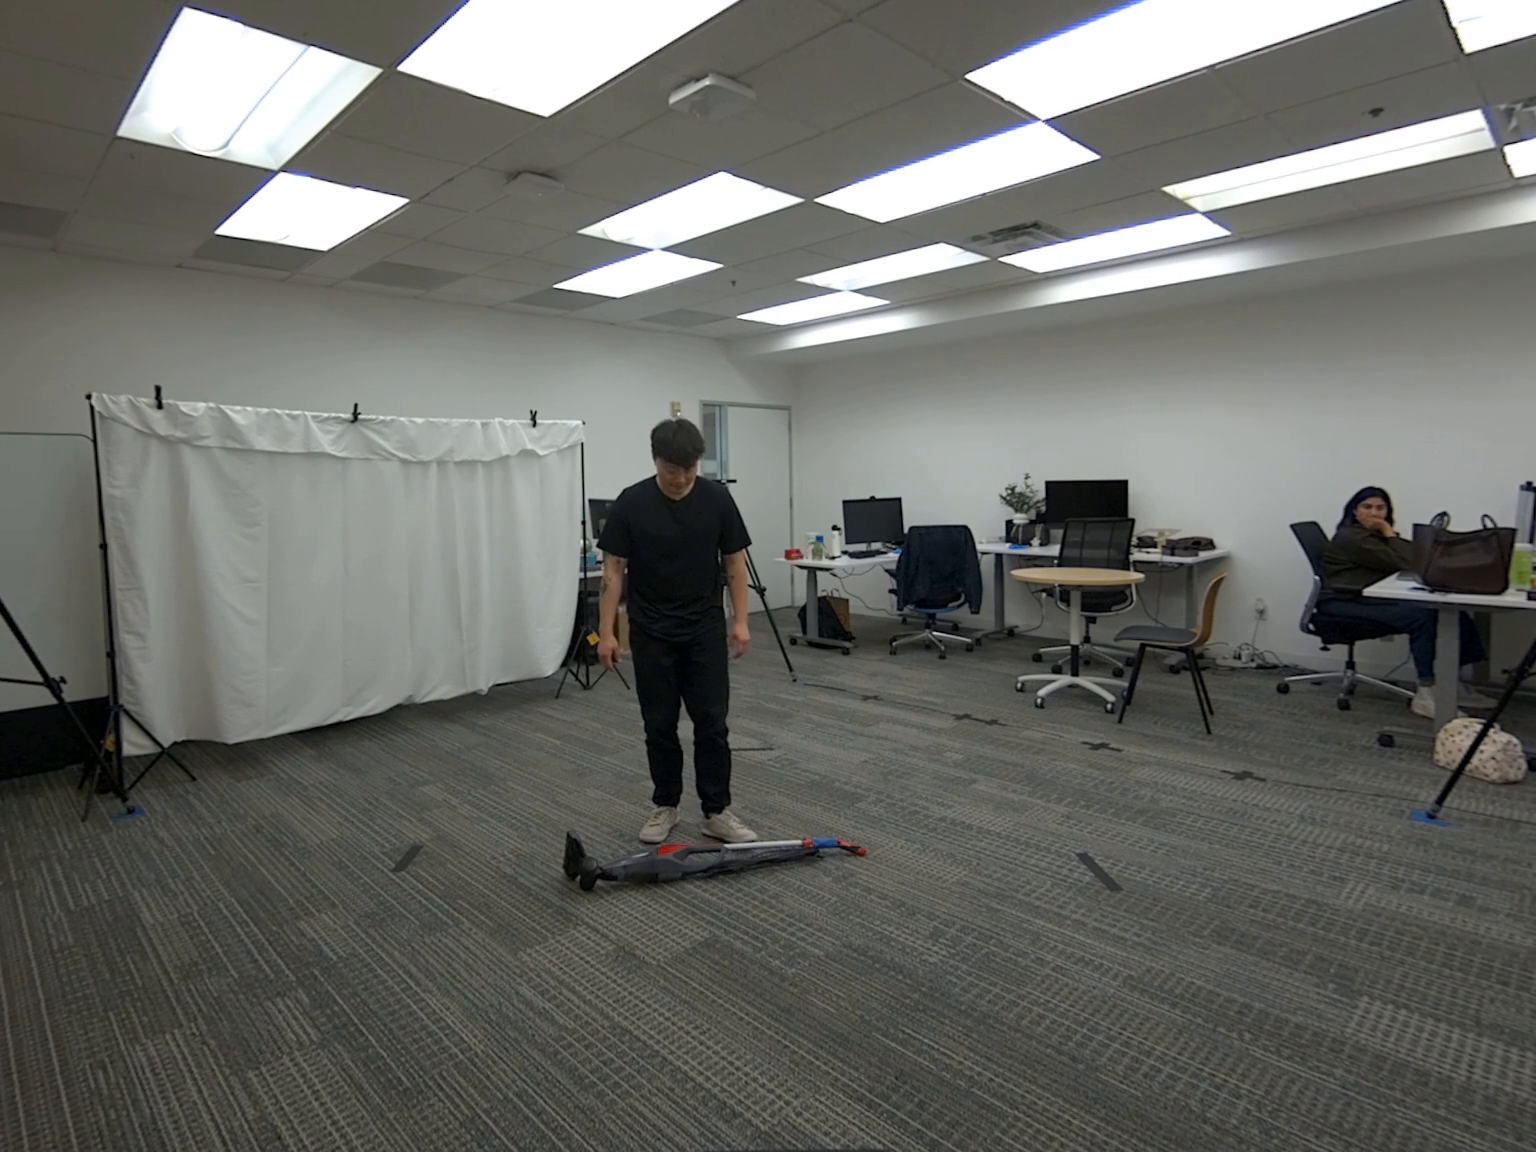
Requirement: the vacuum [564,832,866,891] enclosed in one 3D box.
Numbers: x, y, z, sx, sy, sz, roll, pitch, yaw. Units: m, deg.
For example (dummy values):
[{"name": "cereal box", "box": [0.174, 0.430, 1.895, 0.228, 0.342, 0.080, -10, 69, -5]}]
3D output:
[{"name": "vacuum", "box": [-0.156, 1.008, 3.046, 1.036, 0.247, 0.148, 3, 41, -12]}]
